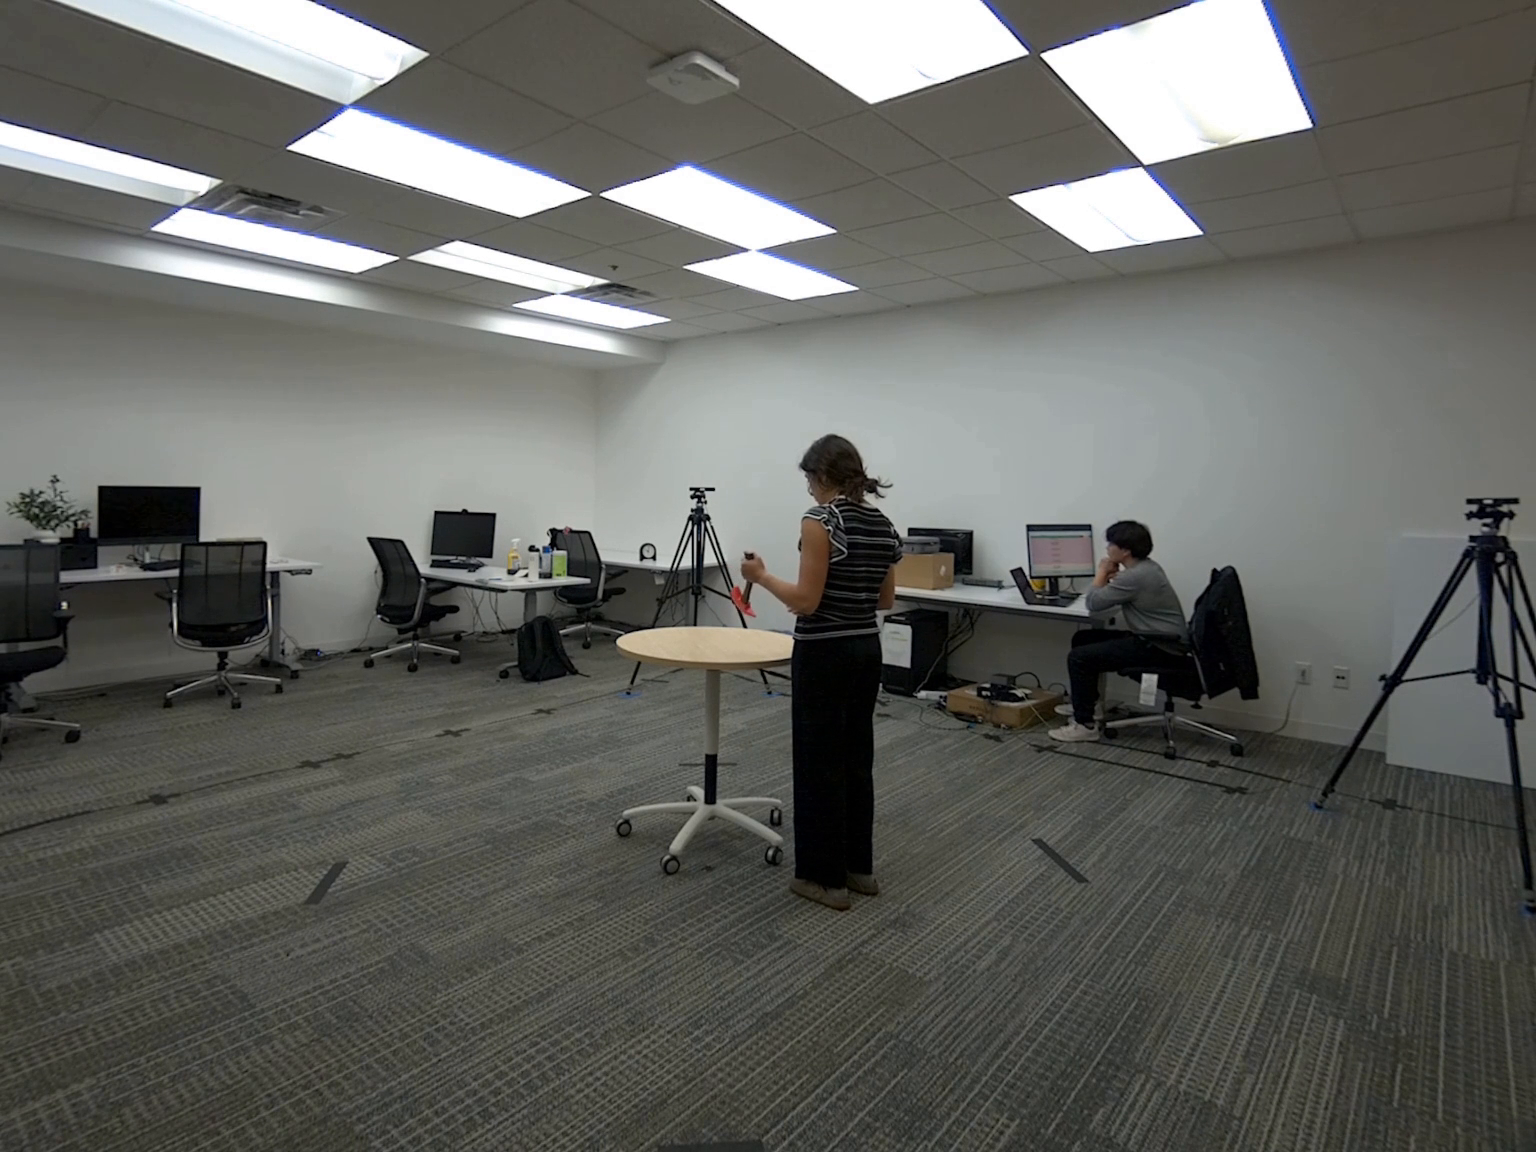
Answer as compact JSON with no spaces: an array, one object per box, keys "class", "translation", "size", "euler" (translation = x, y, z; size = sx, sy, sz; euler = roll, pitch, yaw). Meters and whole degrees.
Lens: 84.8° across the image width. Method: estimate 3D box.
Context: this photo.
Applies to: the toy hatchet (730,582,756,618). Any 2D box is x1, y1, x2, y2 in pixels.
[{"class":"toy hatchet","translation":[-0.091,0.014,3.012],"size":[0.029,0.264,0.136],"euler":[-21,35,-35]}]
